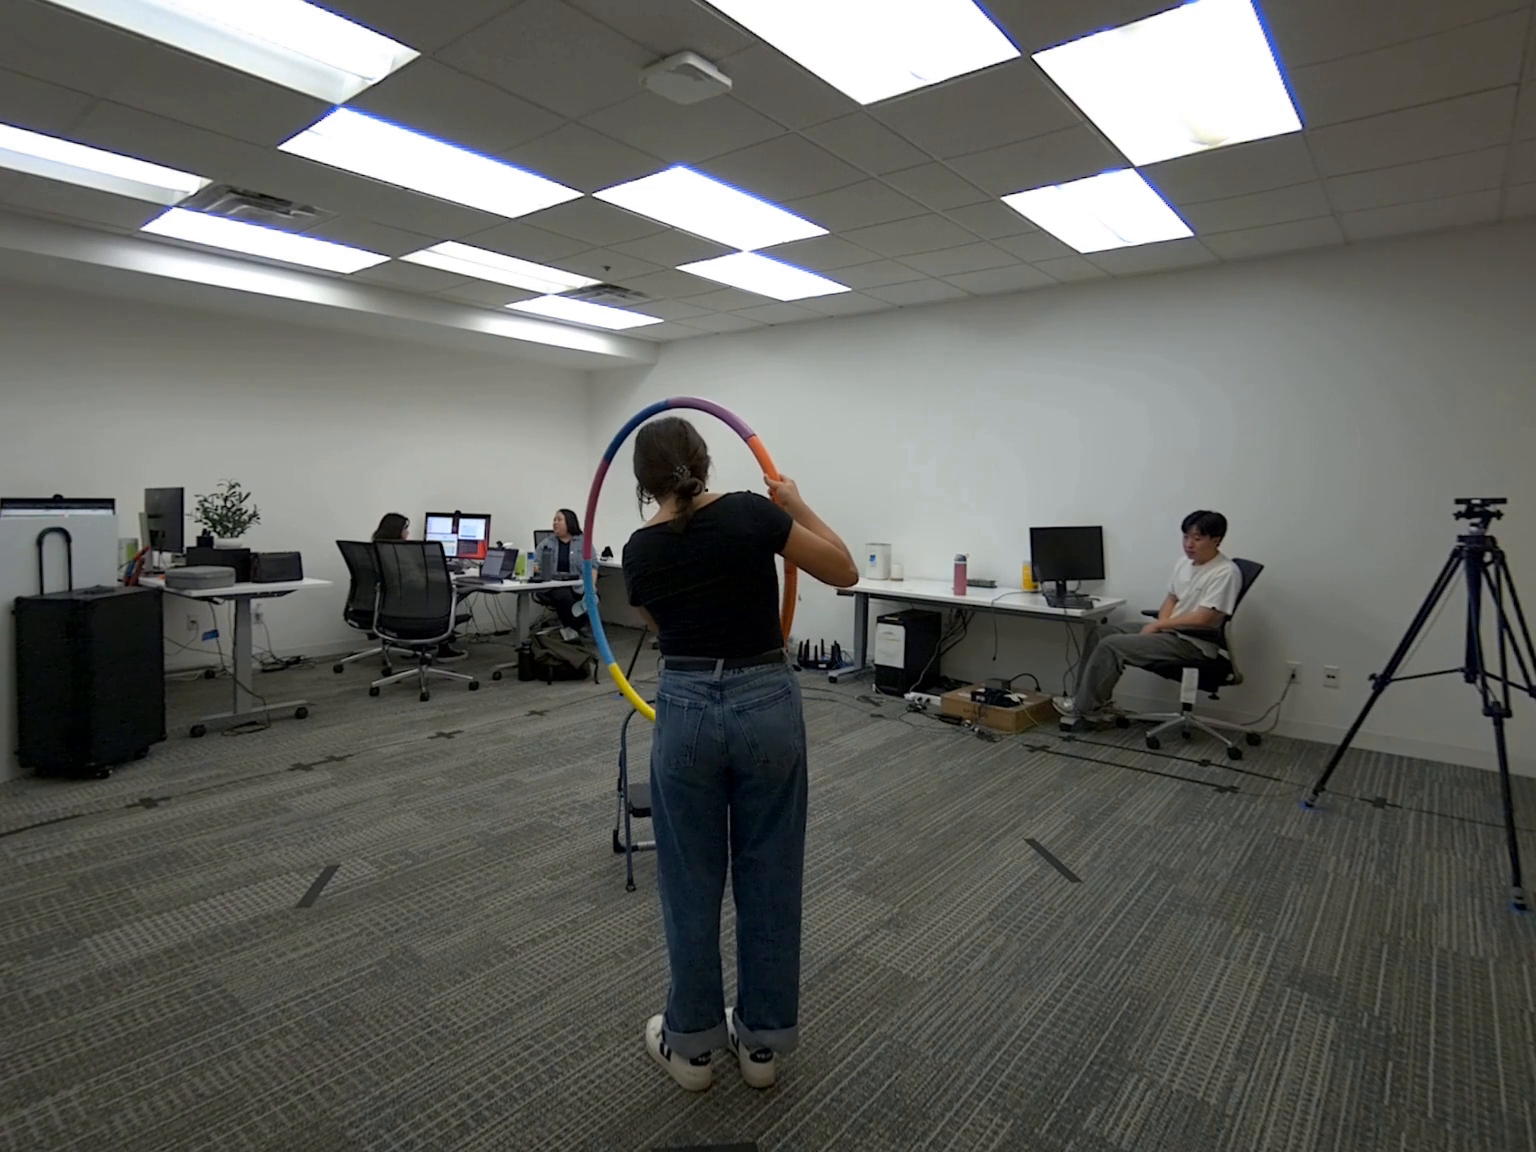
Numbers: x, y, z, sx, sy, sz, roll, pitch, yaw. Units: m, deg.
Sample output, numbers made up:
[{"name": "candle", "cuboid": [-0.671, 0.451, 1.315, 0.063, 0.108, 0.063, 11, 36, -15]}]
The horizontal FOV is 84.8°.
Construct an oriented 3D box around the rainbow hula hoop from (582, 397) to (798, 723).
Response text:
[{"name": "rainbow hula hoop", "cuboid": [-0.276, -0.042, 2.481, 0.034, 0.975, 1.012, -3, 5, -43]}]
